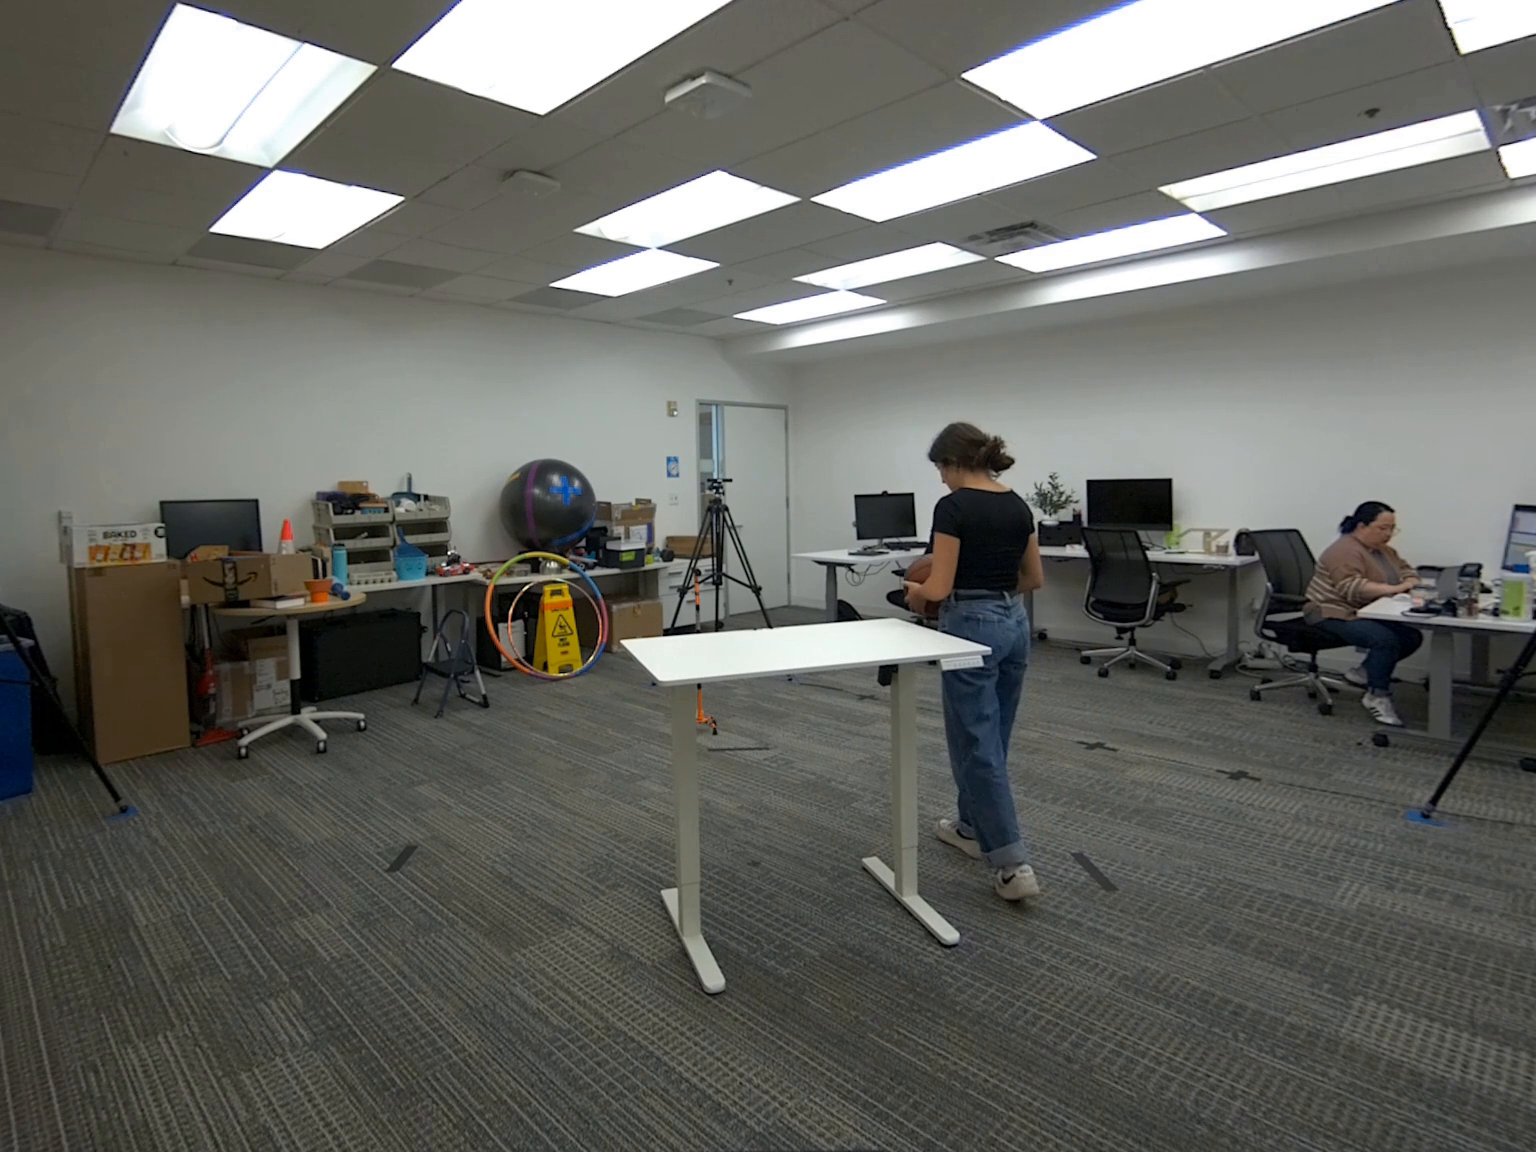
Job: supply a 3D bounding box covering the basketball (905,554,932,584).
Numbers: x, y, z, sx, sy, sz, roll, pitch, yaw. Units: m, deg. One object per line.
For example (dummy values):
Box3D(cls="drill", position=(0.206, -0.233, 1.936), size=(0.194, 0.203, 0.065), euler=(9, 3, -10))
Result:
Box3D(cls="basketball", position=(0.644, 0.032, 3.237), size=(0.236, 0.235, 0.237), euler=(-1, 5, -2))
